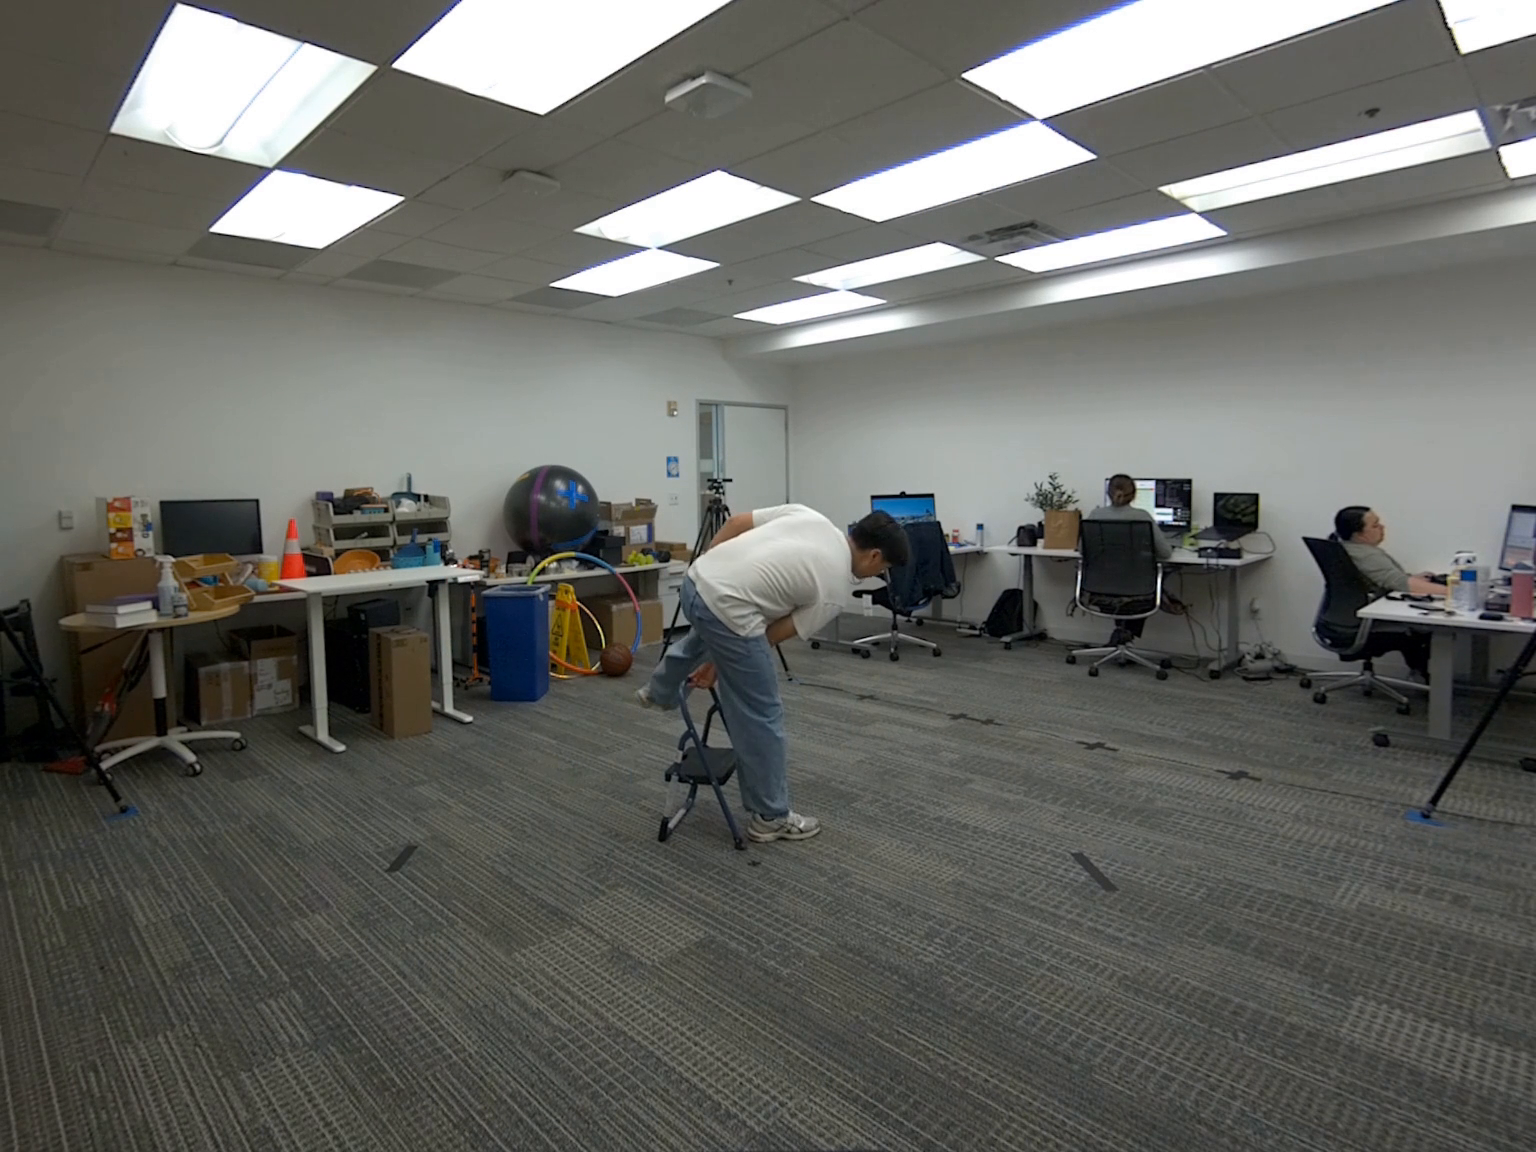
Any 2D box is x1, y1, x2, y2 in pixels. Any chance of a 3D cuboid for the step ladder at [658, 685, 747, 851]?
[{"bbox_3d":[-0.231,0.705,3.449,0.353,0.604,0.427,-1,4,12],"label":"step ladder"}]
